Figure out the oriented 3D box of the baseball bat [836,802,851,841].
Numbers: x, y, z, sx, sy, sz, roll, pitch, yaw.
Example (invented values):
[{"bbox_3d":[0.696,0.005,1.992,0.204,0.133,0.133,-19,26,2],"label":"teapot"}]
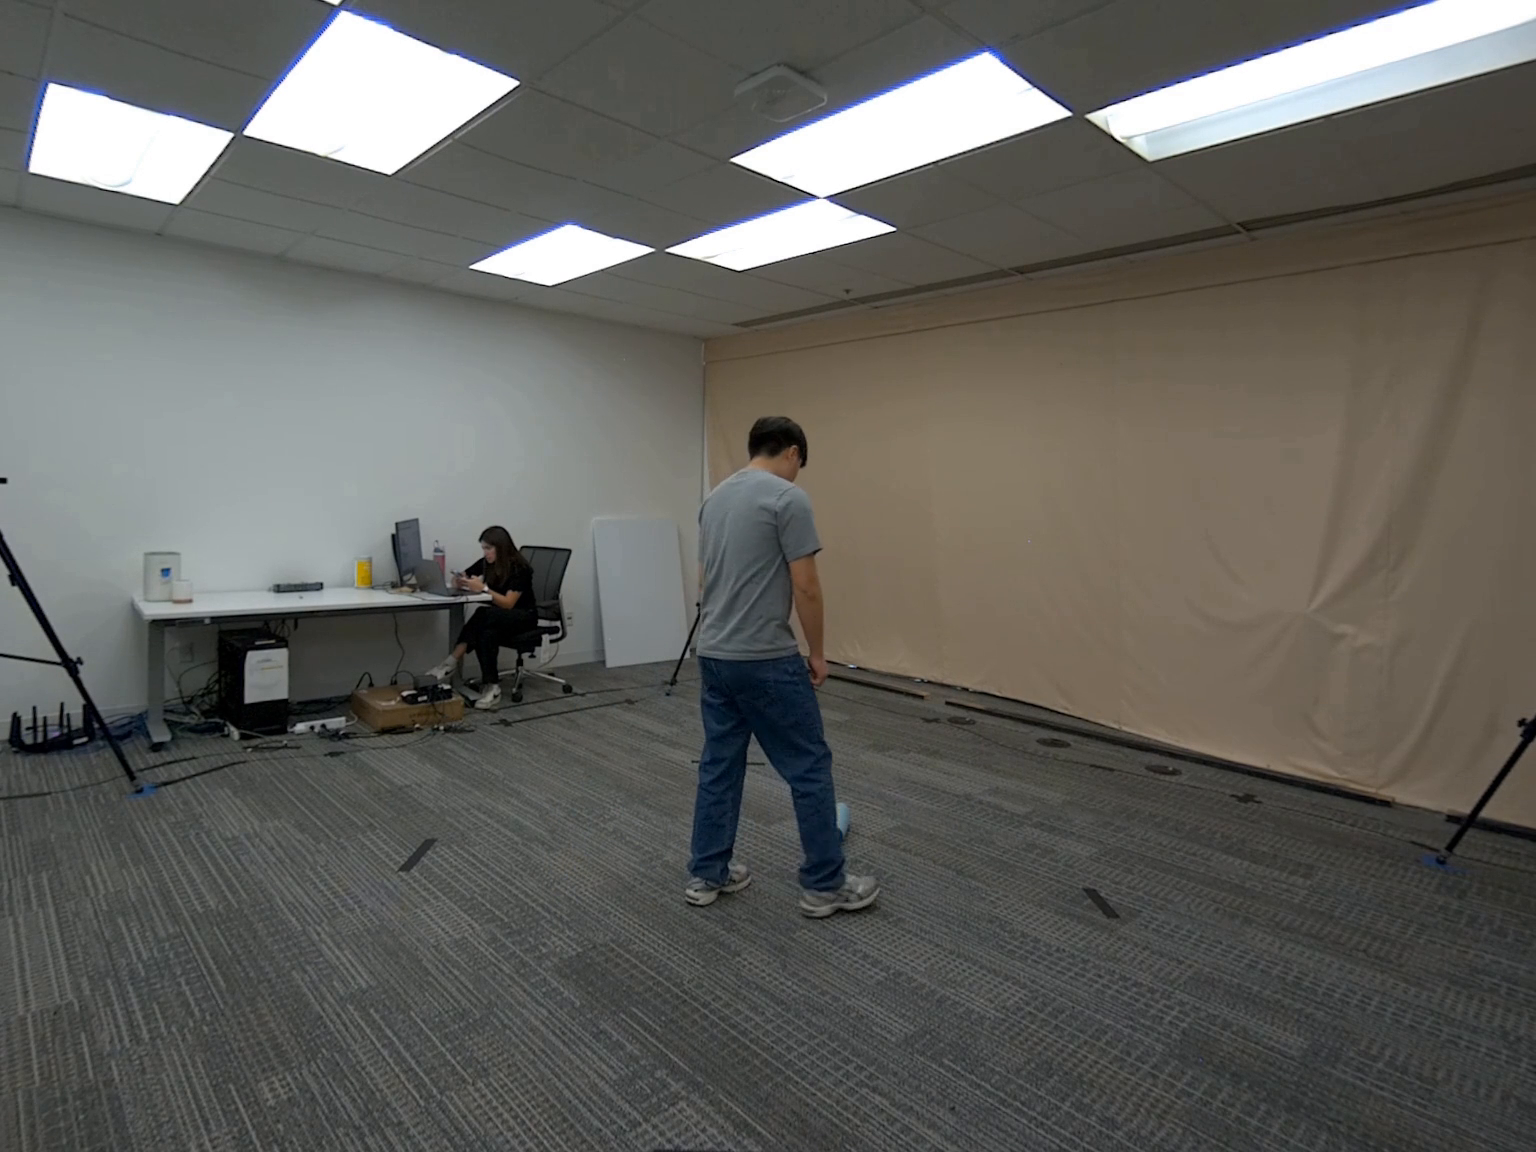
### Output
[{"bbox_3d":[0.261,1.059,3.391,0.090,0.088,0.541,2,8,9],"label":"baseball bat"}]
